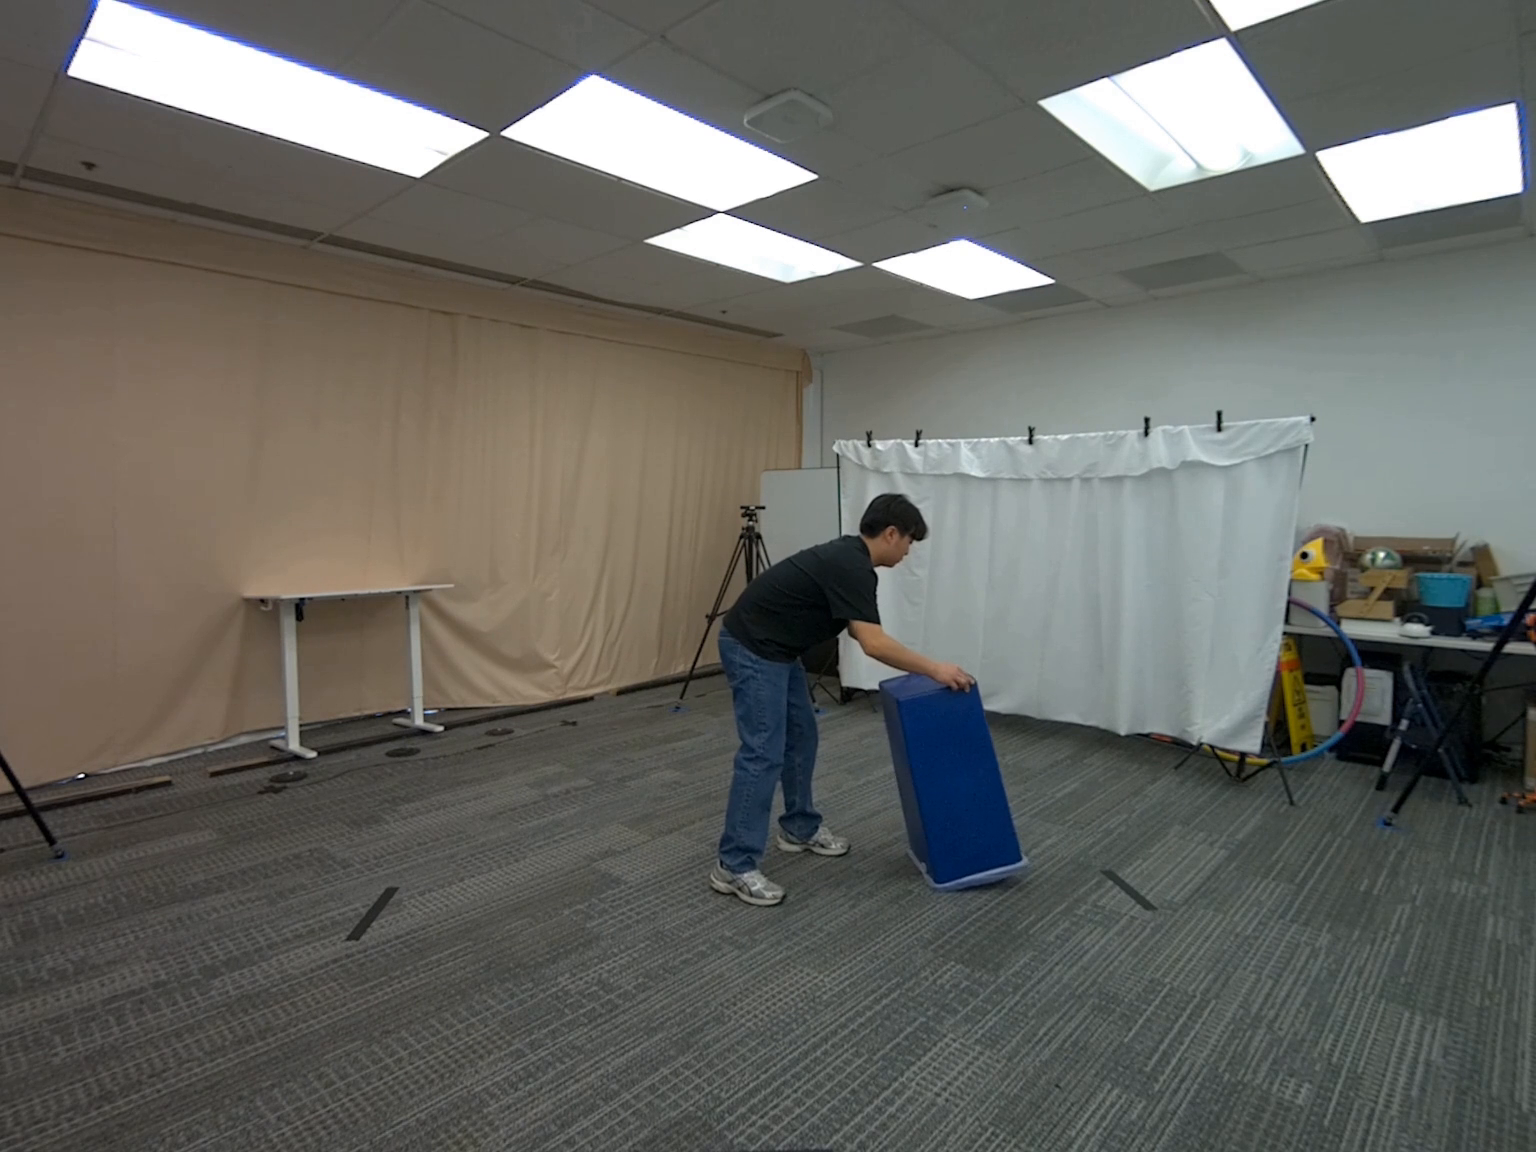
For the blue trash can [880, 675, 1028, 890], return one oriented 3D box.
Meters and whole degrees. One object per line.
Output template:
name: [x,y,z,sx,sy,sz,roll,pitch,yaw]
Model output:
blue trash can: [0.689,0.746,3.195,0.373,0.711,0.380,-12,4,-3]
